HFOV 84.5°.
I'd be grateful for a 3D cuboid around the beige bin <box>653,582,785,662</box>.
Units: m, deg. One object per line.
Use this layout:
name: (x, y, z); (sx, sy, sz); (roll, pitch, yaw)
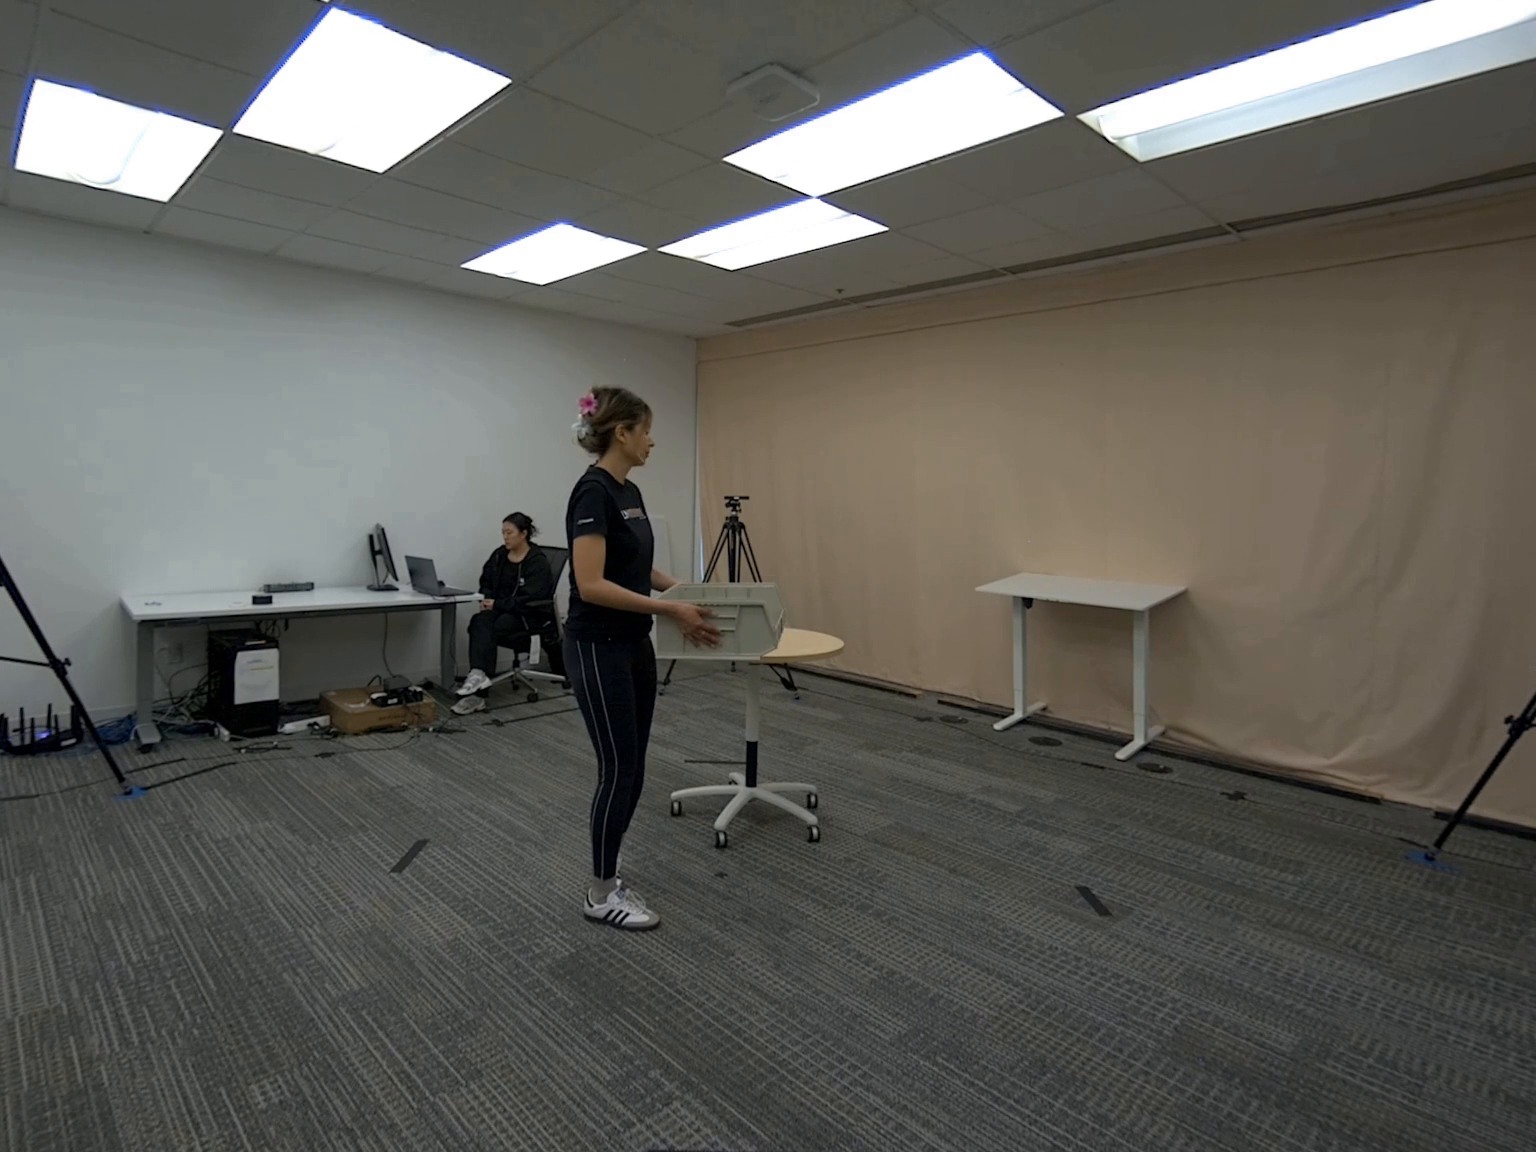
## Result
beige bin: (-0.163, 0.141, 2.697); (0.378, 0.188, 0.423); (-1, 7, 2)
